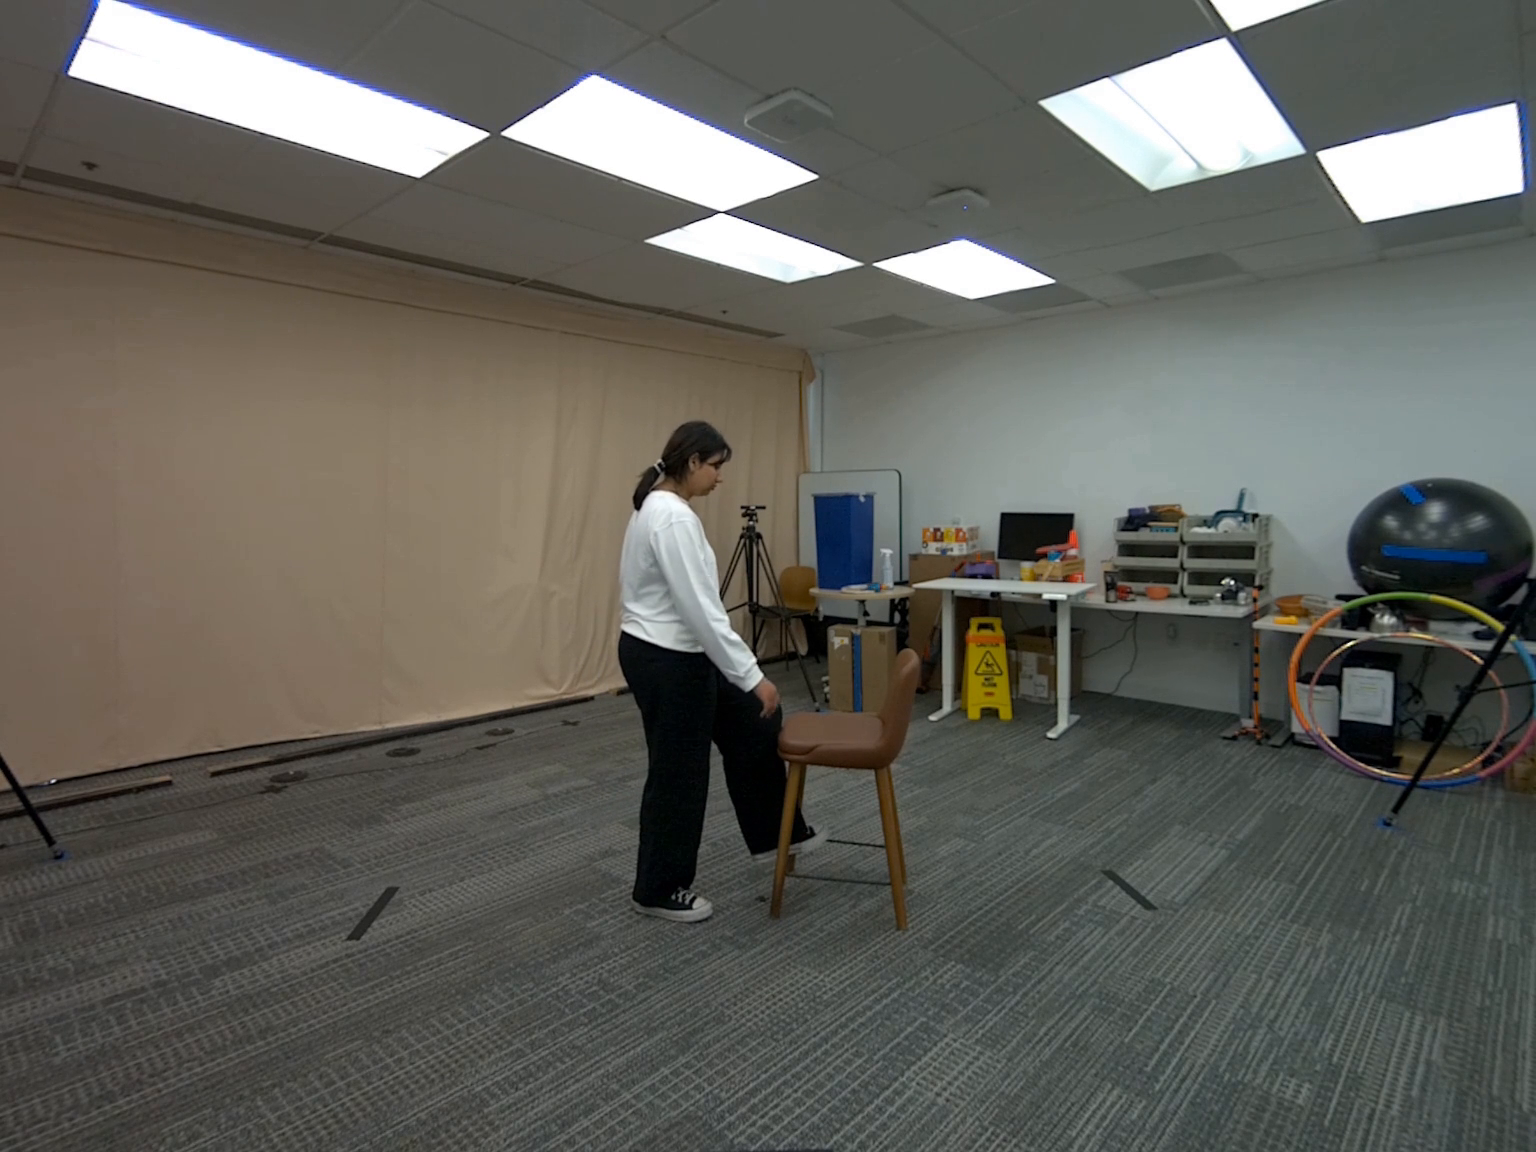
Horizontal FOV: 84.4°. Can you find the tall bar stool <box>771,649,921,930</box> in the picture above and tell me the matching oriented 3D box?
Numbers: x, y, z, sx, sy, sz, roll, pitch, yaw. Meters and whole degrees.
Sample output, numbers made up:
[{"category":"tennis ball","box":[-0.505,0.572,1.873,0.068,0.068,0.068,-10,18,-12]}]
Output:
[{"category":"tall bar stool","box":[0.278,0.710,2.958,0.474,0.887,0.452,3,4,11]}]
